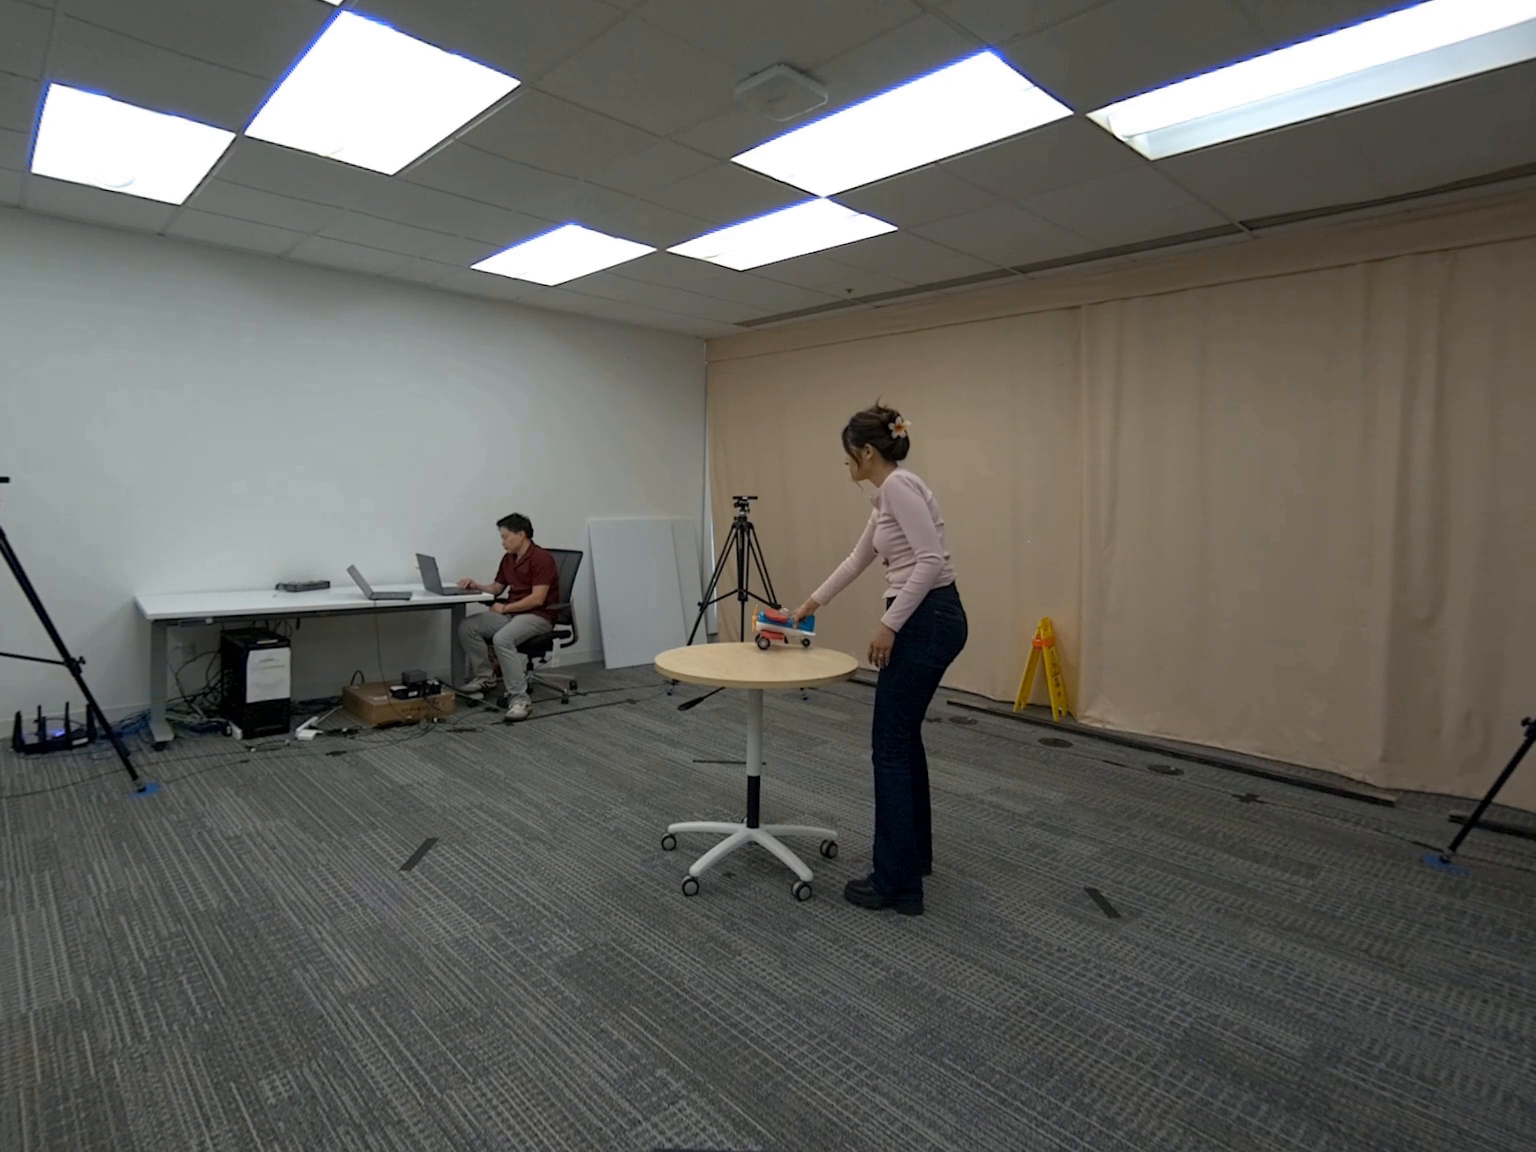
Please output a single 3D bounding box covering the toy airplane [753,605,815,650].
[{"bbox_3d":[0.052,0.210,3.447,0.254,0.156,0.256,-6,5,-29],"label":"toy airplane"}]
